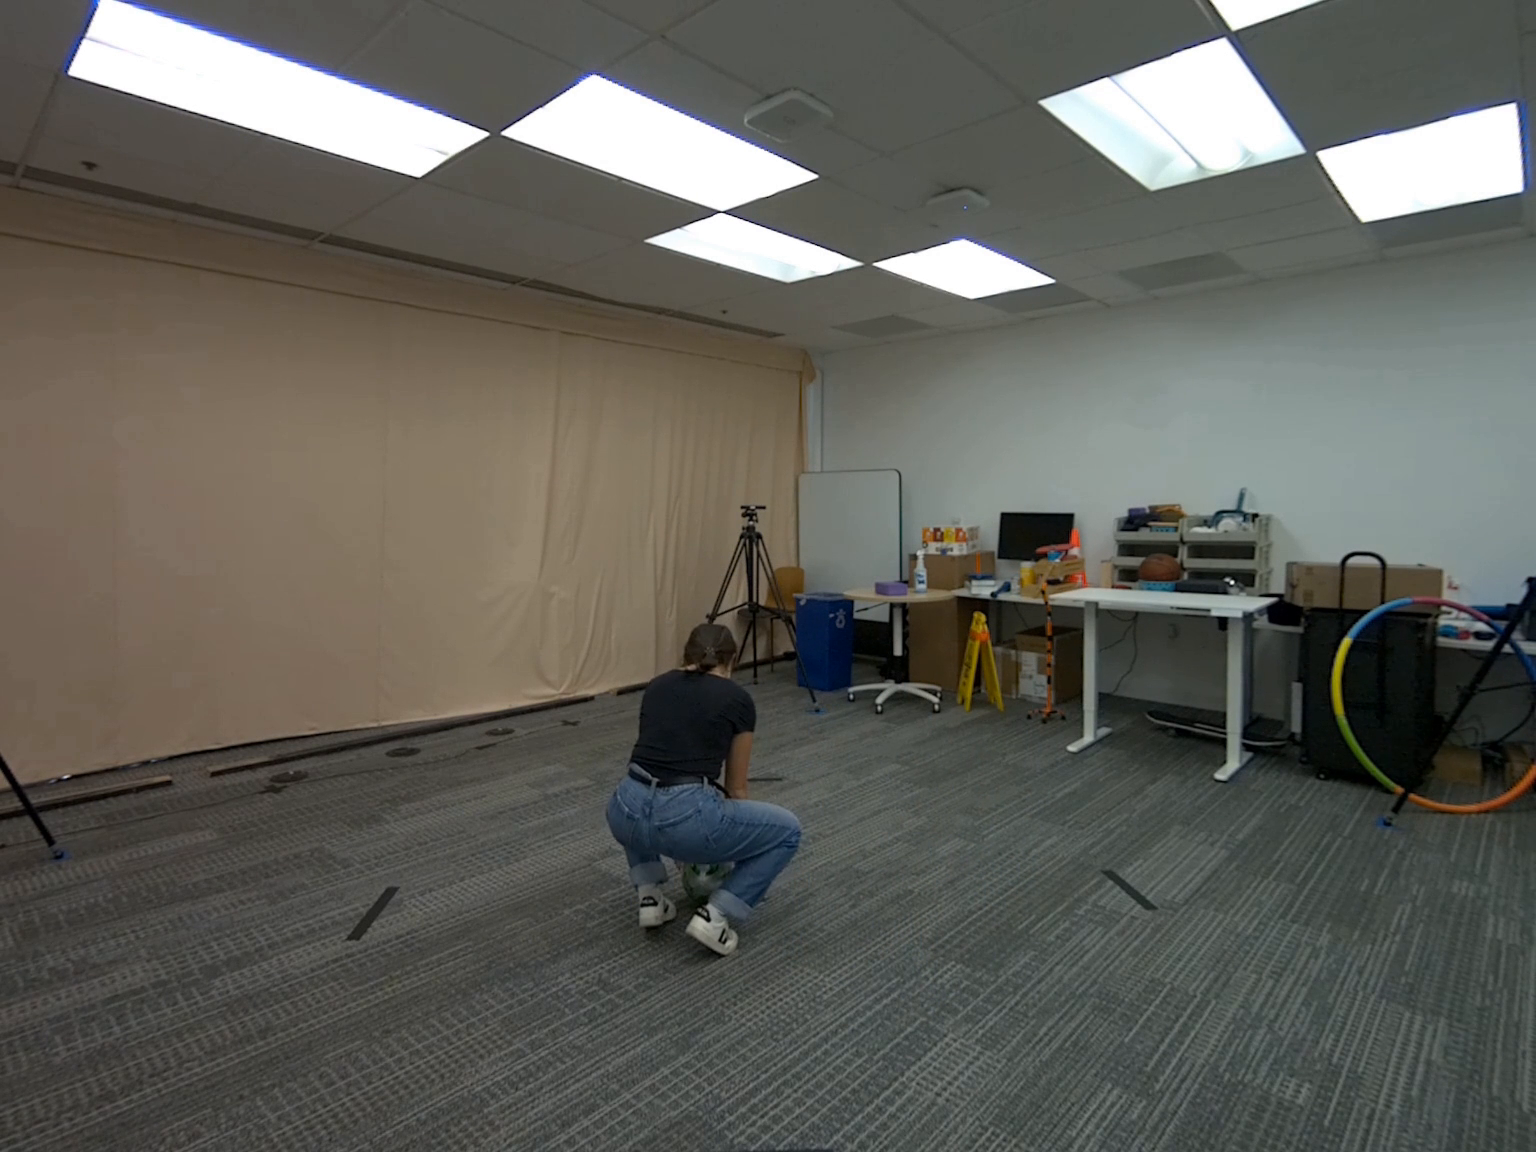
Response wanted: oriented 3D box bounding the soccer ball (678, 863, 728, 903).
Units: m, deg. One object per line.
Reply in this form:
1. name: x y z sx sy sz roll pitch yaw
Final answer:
1. soccer ball: -0.204 1.052 2.954 0.187 0.187 0.188 0 4 -2
